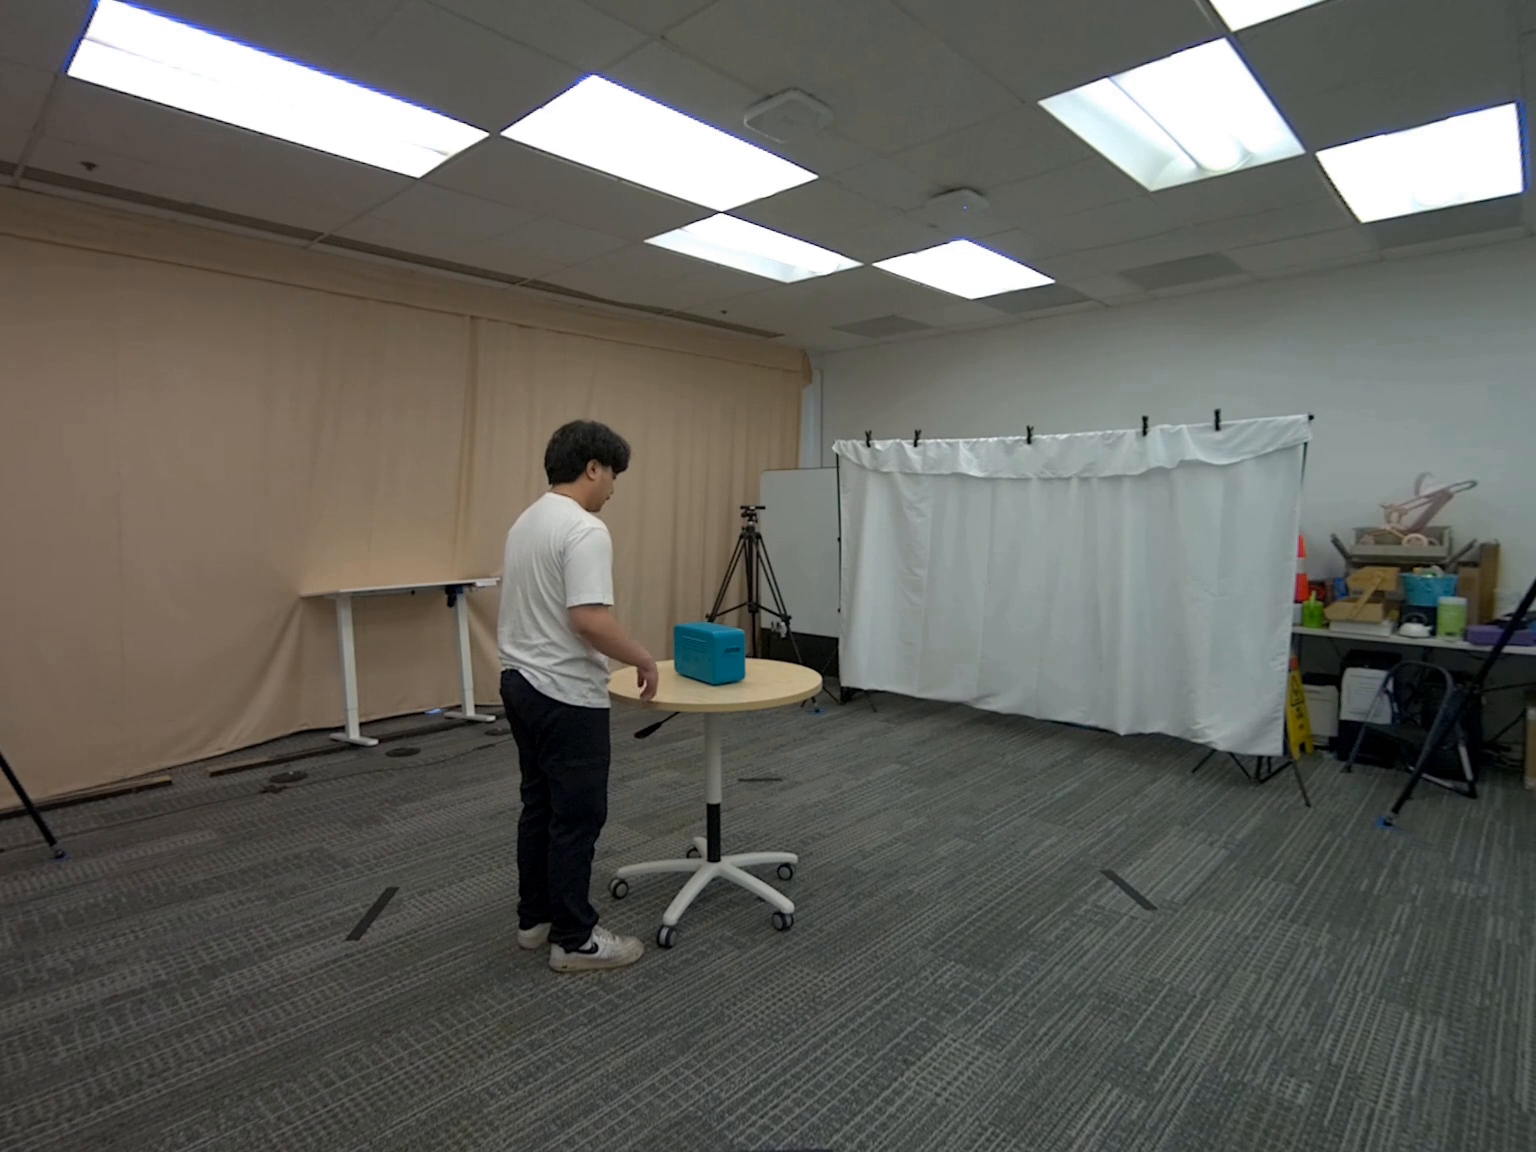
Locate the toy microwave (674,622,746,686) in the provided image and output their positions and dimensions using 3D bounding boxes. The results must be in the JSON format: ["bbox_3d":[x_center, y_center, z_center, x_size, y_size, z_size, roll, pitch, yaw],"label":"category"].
[{"bbox_3d":[-0.199,0.264,2.937,0.148,0.184,0.295,-3,4,-34],"label":"toy microwave"}]
